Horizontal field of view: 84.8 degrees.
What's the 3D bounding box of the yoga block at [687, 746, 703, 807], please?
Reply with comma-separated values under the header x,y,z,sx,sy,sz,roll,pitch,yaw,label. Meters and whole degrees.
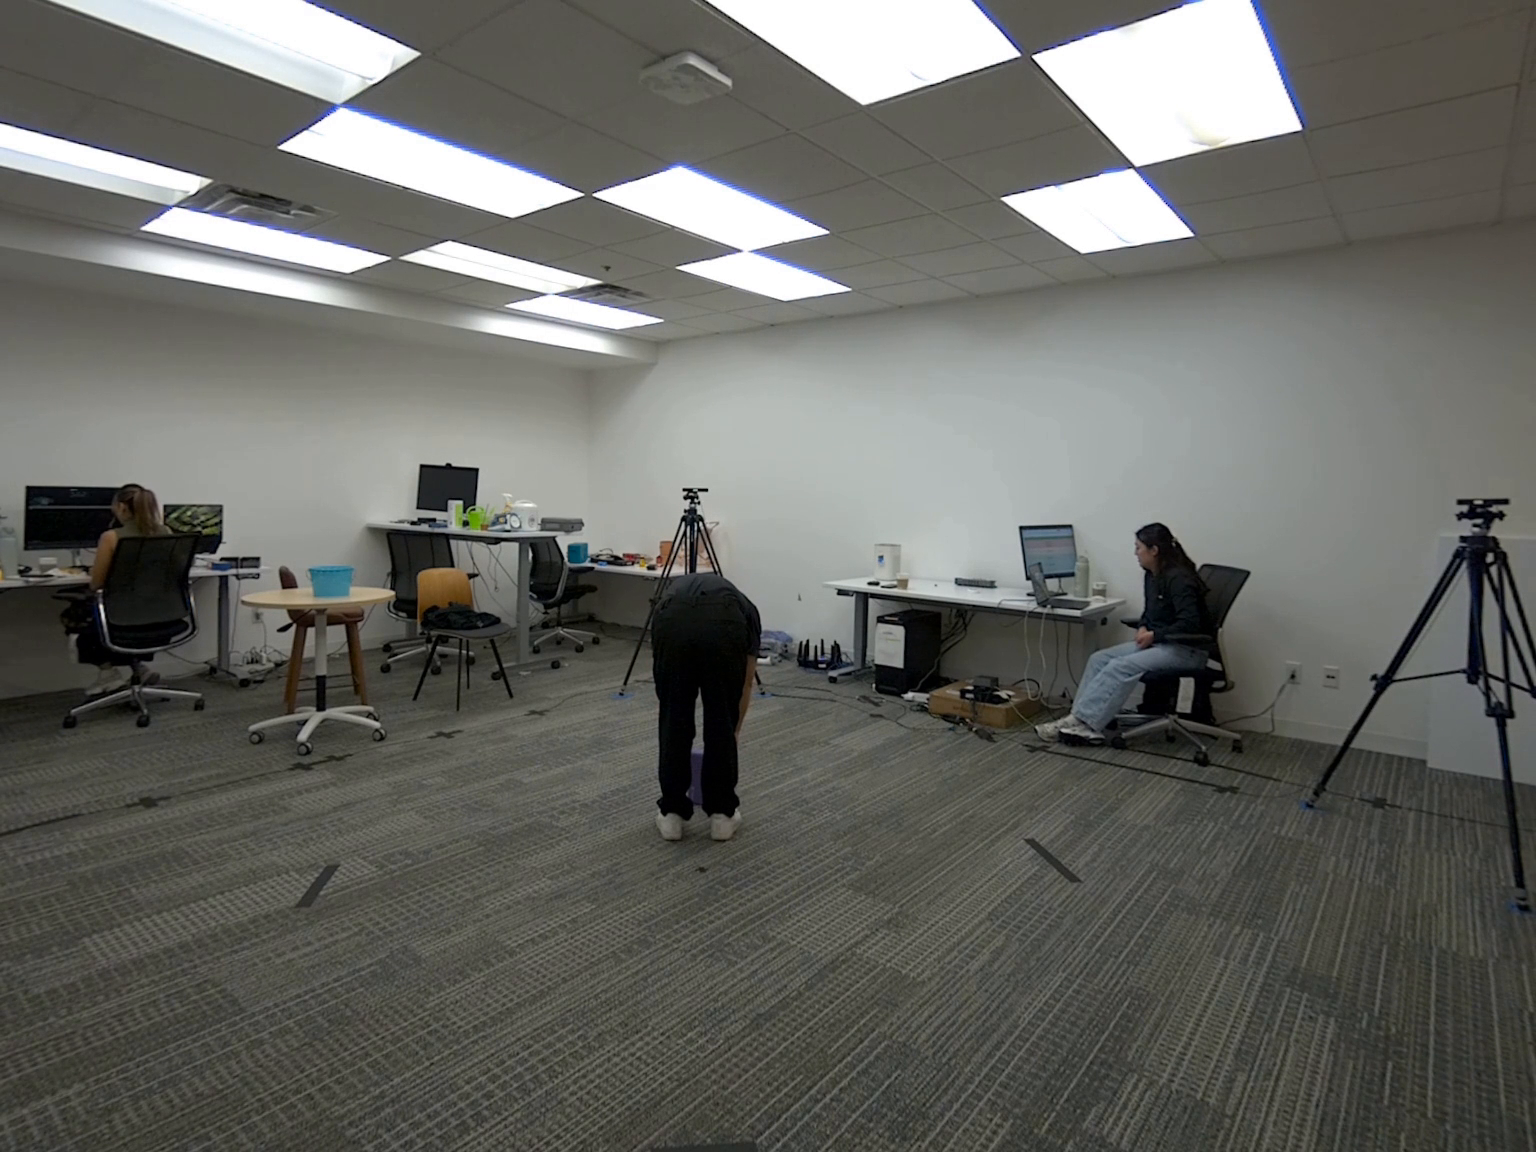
x,y,z,sx,sy,sz,roll,pitch,yaw,label
-0.284,0.884,3.760,0.150,0.229,0.076,2,2,5,yoga block
